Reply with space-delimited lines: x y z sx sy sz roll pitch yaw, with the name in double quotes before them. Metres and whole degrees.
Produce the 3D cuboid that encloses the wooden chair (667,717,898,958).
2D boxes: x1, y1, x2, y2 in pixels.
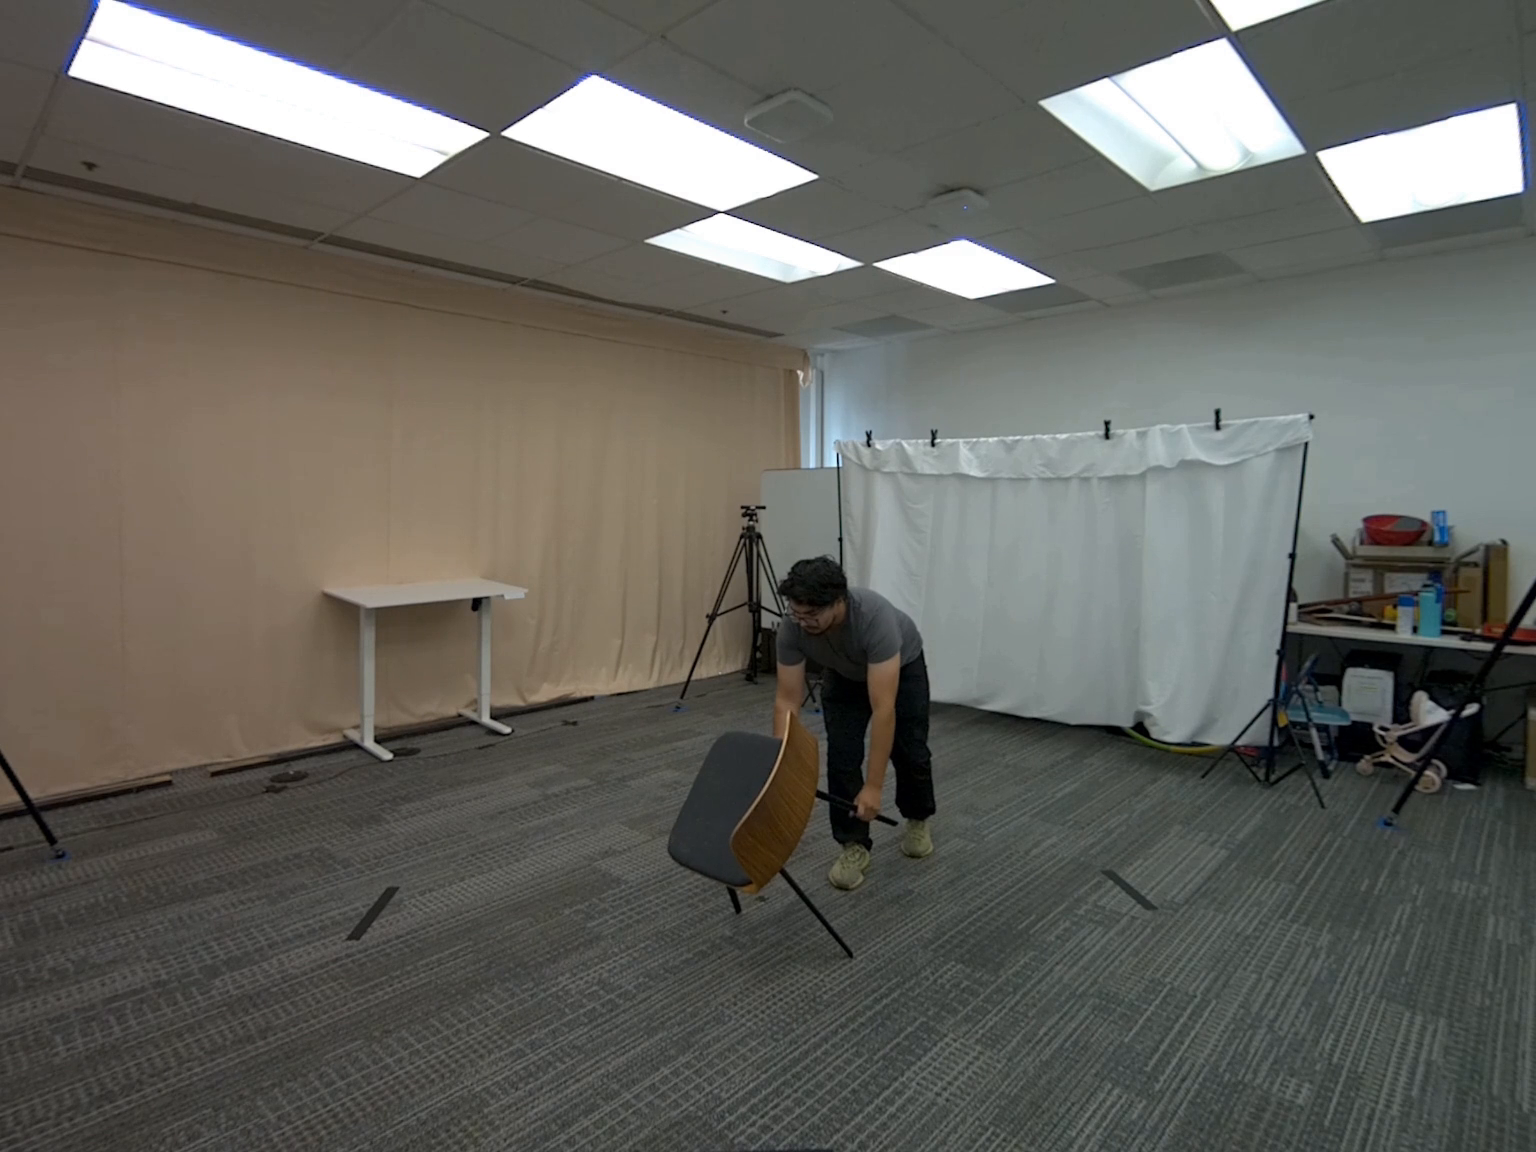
"wooden chair" -0.030 0.733 2.579 0.540 0.479 0.848 7 -34 34
